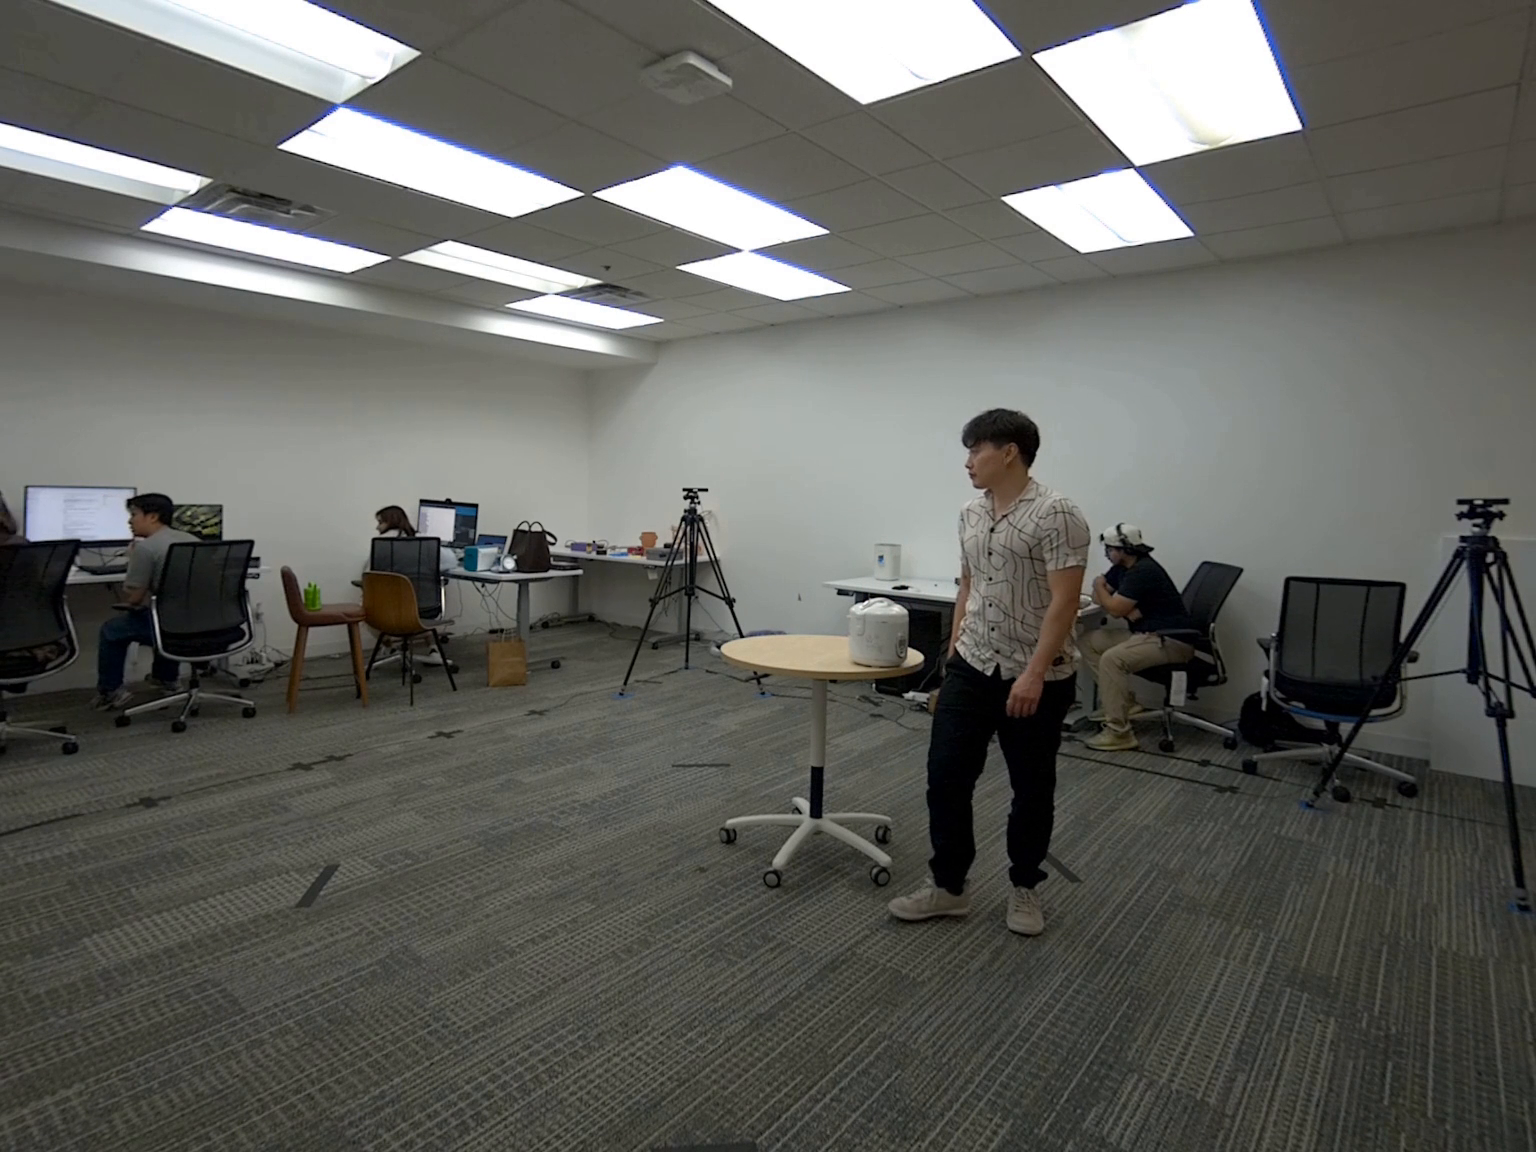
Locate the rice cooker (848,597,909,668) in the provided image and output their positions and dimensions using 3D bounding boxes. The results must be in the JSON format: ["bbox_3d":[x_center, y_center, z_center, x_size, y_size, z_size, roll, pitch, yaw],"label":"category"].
[{"bbox_3d":[0.389,0.193,3.022,0.214,0.232,0.225,-4,6,-41],"label":"rice cooker"}]
